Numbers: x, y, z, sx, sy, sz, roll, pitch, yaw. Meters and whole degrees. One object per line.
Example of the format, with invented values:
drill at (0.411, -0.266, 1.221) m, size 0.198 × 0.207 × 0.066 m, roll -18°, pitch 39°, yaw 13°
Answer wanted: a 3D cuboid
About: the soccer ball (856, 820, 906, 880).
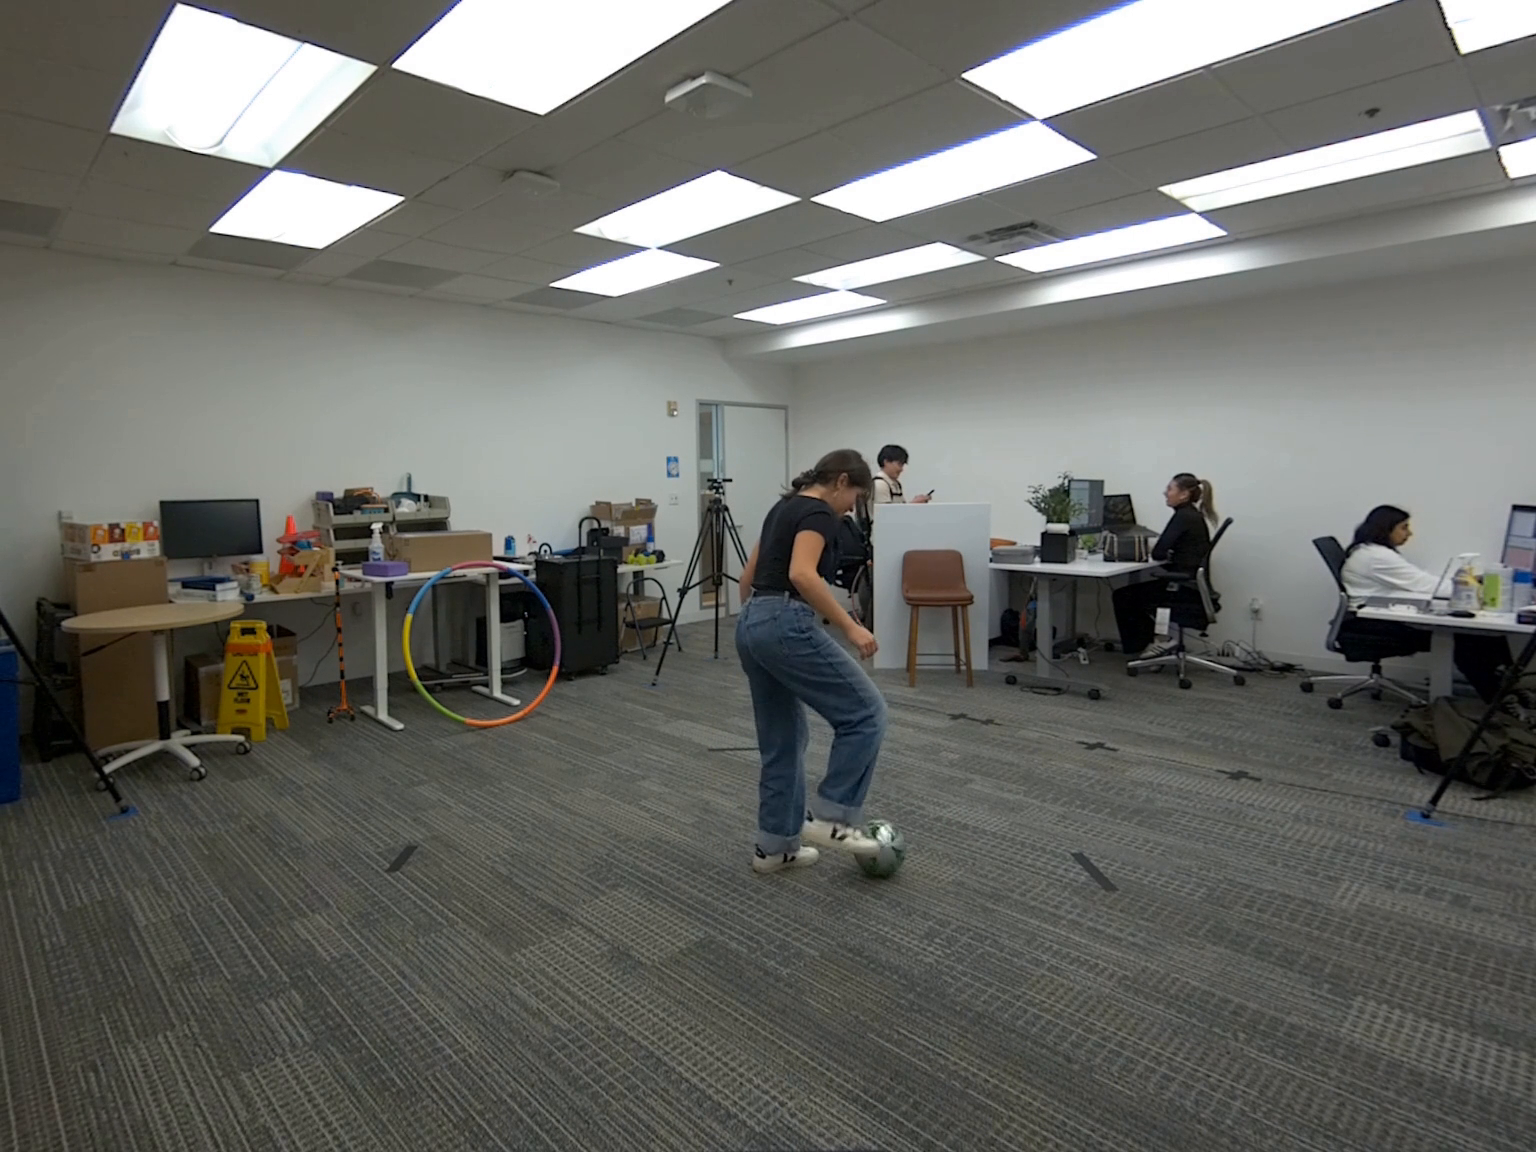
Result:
soccer ball at (0.390, 0.950, 2.999) m, size 0.187 × 0.187 × 0.188 m, roll -1°, pitch 5°, yaw -2°
